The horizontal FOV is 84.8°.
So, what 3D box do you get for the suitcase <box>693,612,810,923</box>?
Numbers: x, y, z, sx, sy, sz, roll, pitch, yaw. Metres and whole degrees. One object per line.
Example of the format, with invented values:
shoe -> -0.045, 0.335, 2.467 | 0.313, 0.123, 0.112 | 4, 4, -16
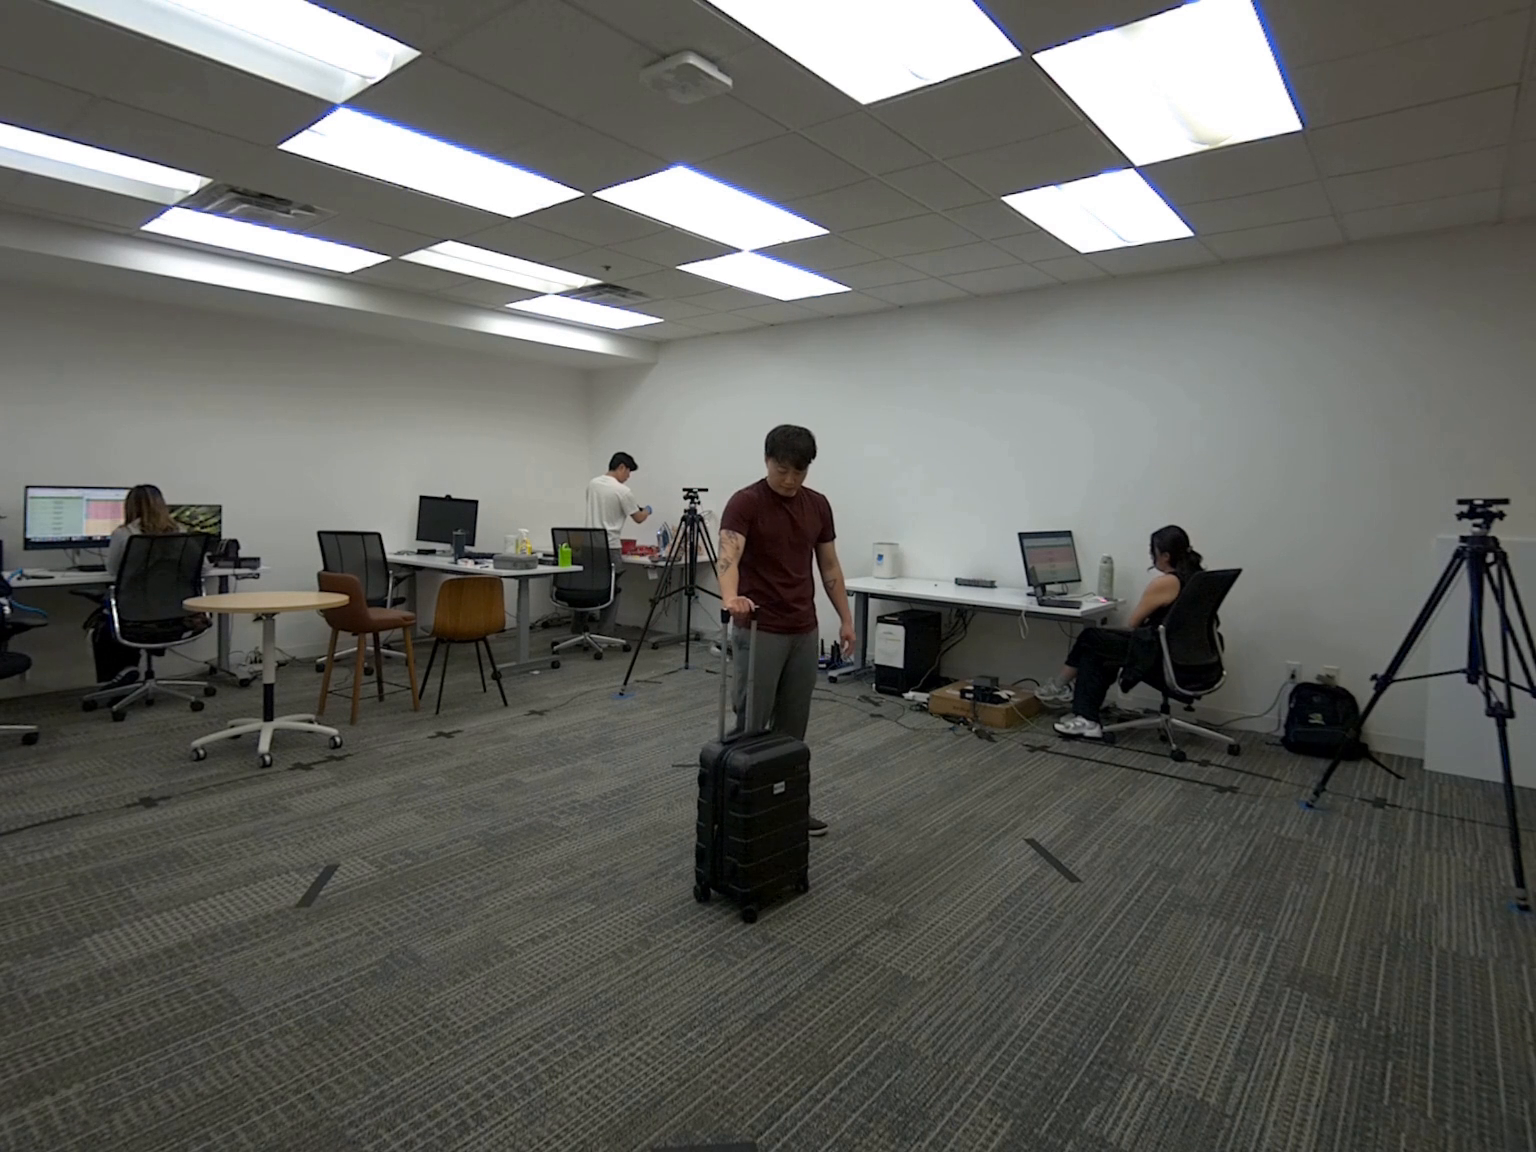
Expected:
suitcase -> -0.049, 0.618, 2.894 | 0.266, 0.975, 0.372 | 6, 5, 42
